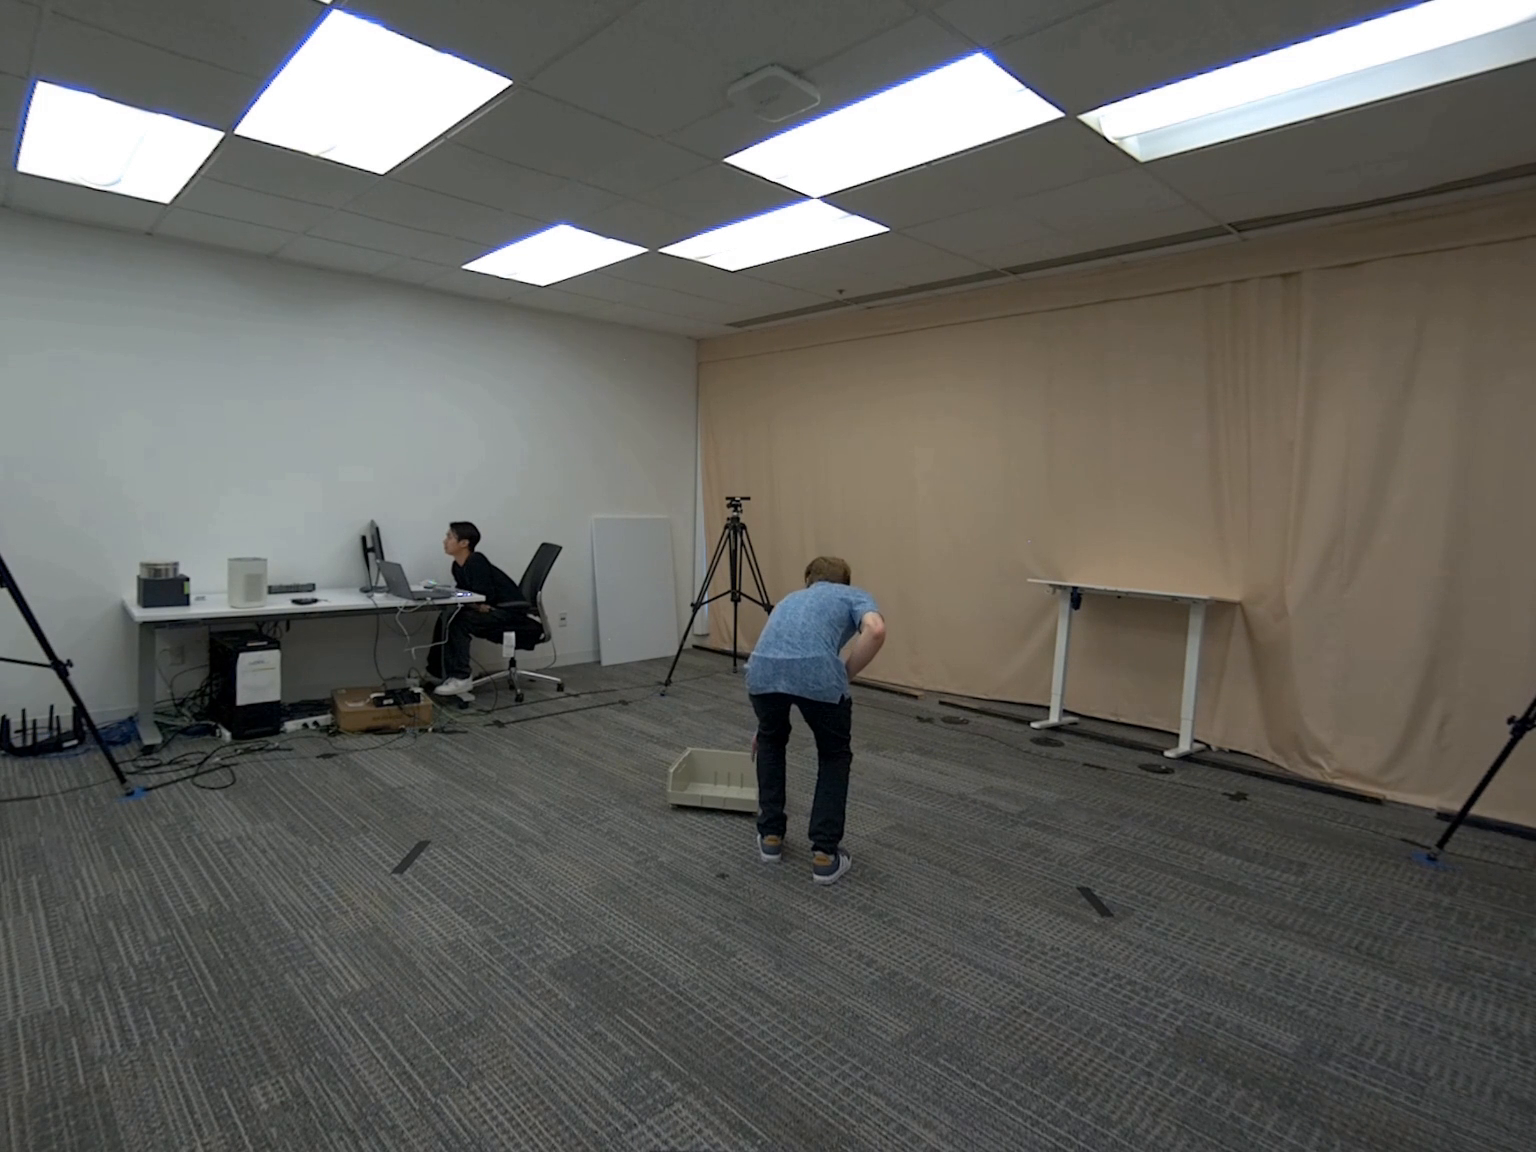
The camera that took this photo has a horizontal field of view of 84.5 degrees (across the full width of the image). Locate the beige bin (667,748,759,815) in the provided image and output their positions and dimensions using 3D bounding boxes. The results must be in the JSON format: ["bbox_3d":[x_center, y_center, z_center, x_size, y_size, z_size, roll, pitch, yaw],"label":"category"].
[{"bbox_3d":[-0.222,0.948,3.879,0.426,0.188,0.375,2,4,10],"label":"beige bin"}]
